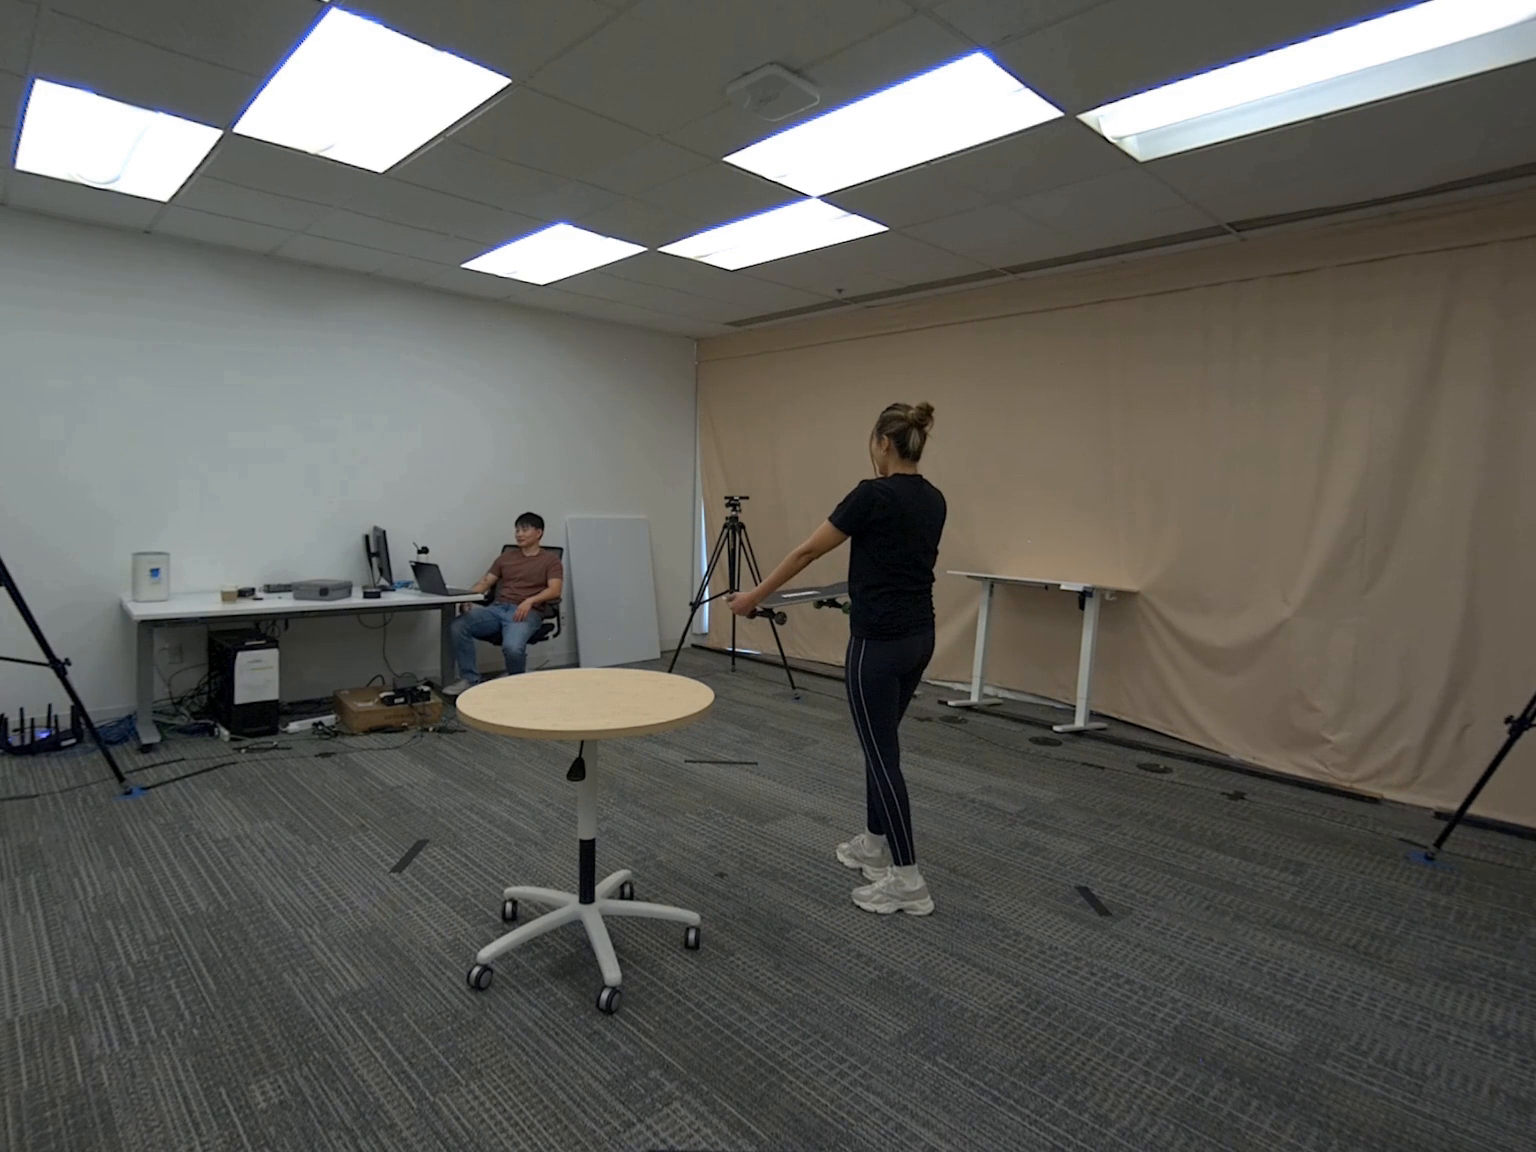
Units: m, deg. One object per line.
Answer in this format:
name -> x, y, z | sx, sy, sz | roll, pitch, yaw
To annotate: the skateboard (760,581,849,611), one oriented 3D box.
skateboard -> 0.131, 0.109, 3.318 | 0.768, 0.110, 0.199 | -6, 12, -44
